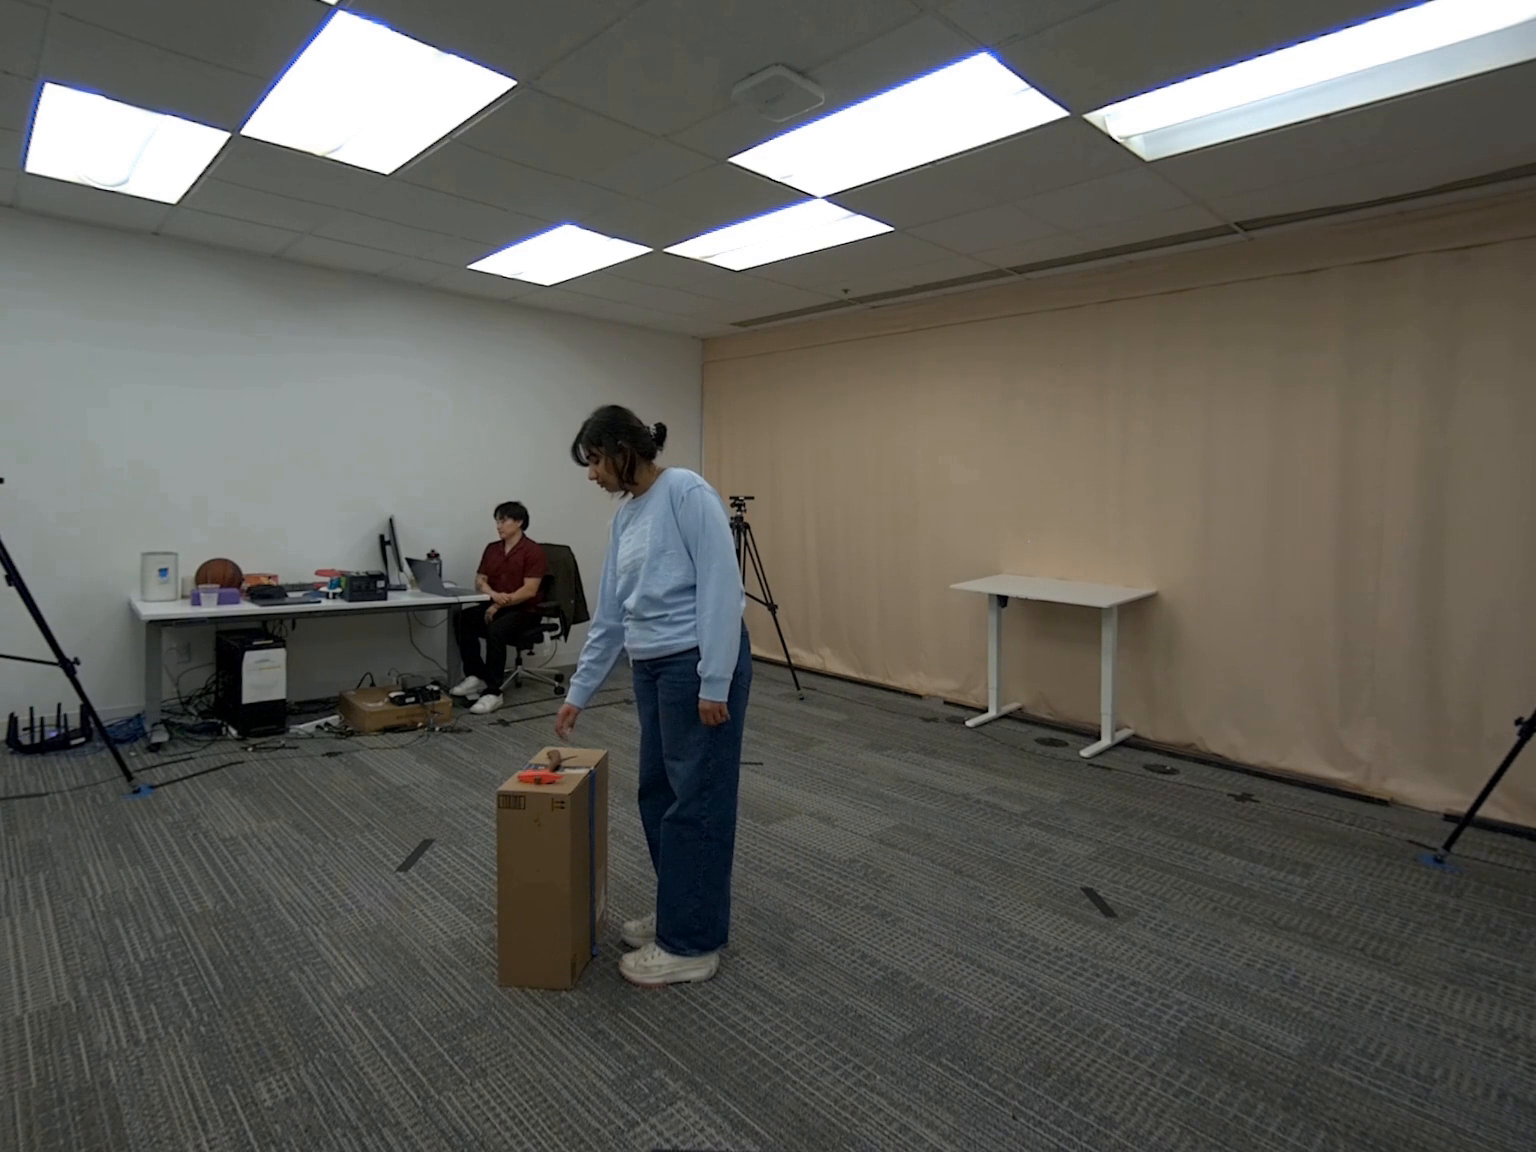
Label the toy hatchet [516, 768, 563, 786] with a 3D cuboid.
[{"bbox_3d":[-0.680,0.563,2.539,0.130,0.029,0.273,-6,6,-13],"label":"toy hatchet"}]
